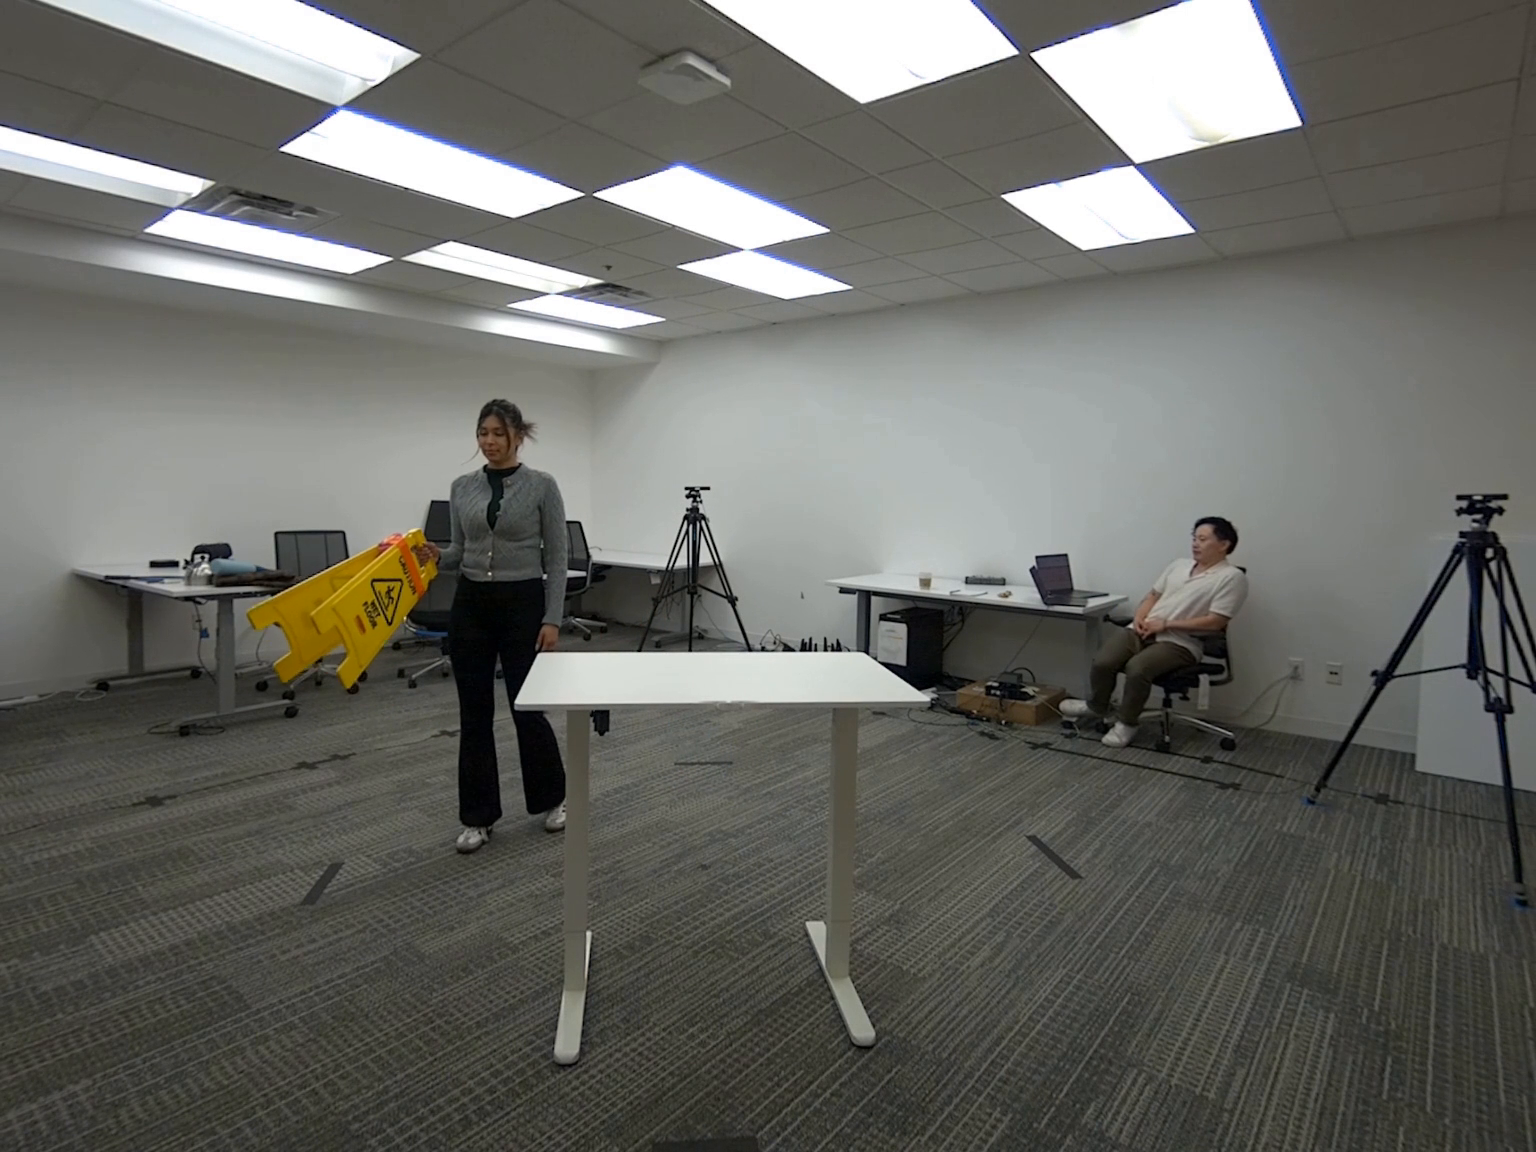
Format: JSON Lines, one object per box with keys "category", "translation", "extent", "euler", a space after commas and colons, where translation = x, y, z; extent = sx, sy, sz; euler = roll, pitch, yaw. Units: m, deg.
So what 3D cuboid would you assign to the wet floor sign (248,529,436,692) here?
{"category": "wet floor sign", "translation": [-1.378, 0.071, 2.899], "extent": [0.296, 0.274, 0.649], "euler": [0, 31, 22]}
